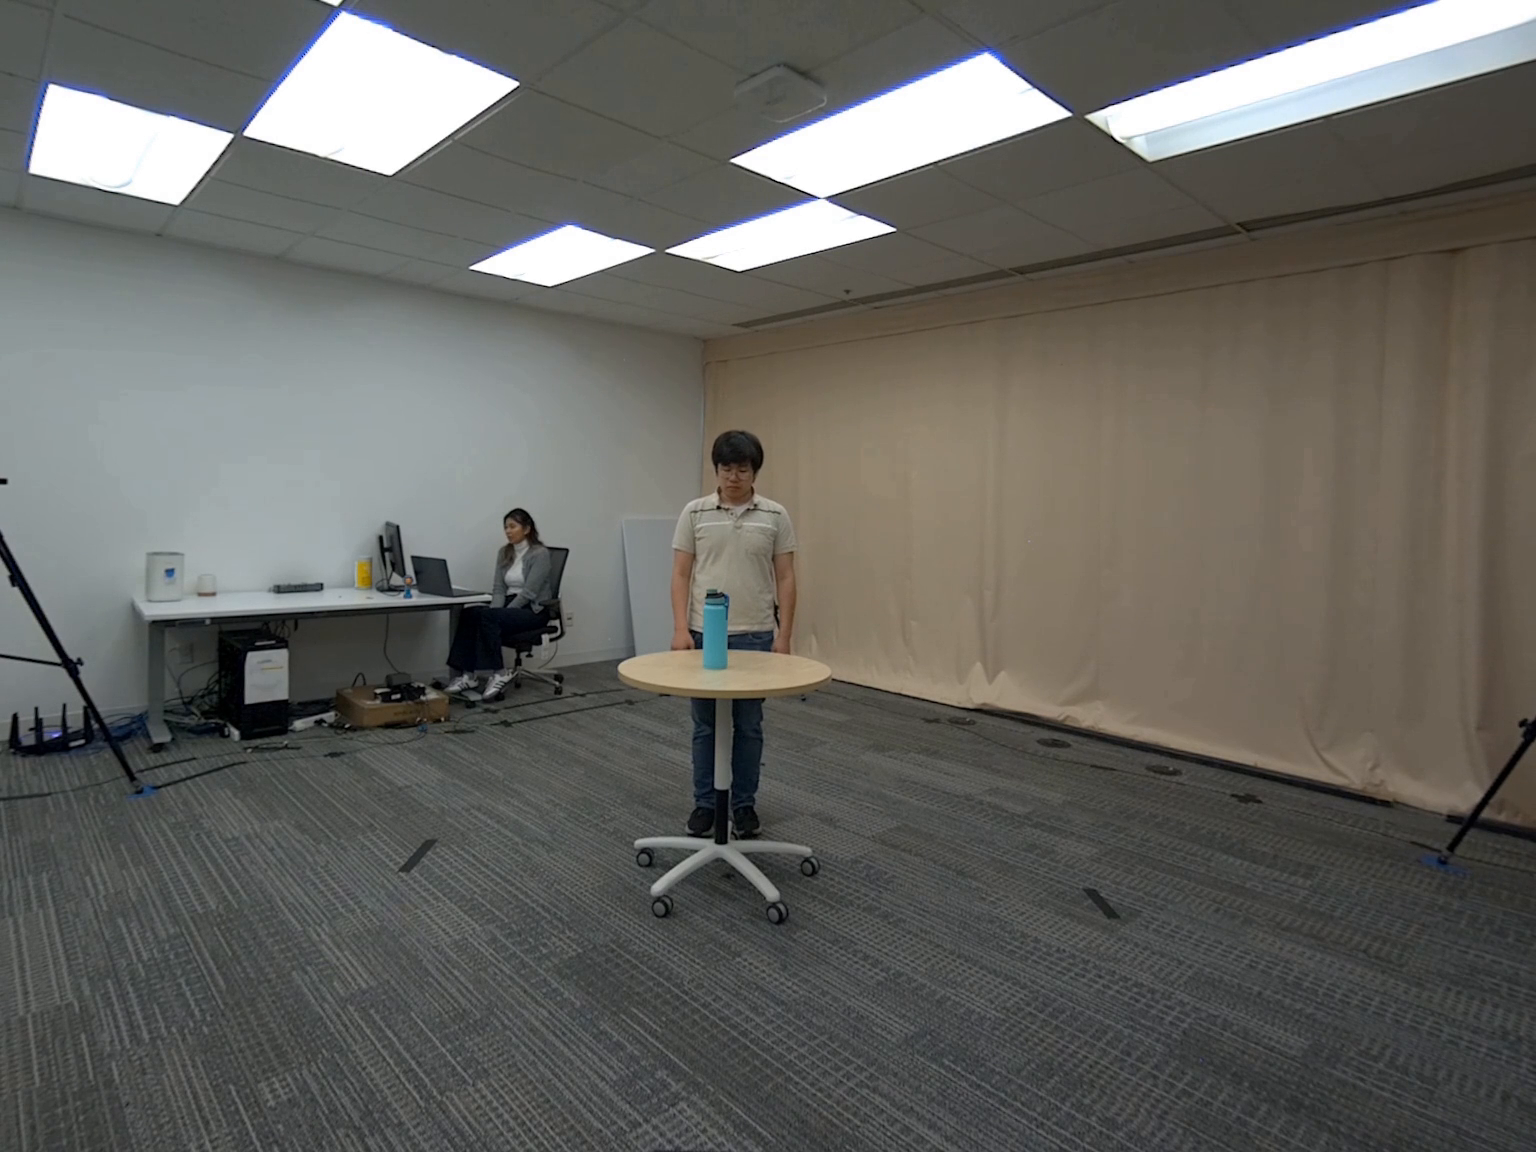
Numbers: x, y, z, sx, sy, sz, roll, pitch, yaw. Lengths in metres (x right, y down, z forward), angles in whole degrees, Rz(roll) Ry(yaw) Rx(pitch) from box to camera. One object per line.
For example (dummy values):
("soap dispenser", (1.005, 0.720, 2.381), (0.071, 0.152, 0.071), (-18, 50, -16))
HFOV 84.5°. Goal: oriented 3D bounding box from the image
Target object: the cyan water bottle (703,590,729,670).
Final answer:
("cyan water bottle", (-0.194, 0.190, 3.023), (0.092, 0.283, 0.092), (3, 1, -1))
